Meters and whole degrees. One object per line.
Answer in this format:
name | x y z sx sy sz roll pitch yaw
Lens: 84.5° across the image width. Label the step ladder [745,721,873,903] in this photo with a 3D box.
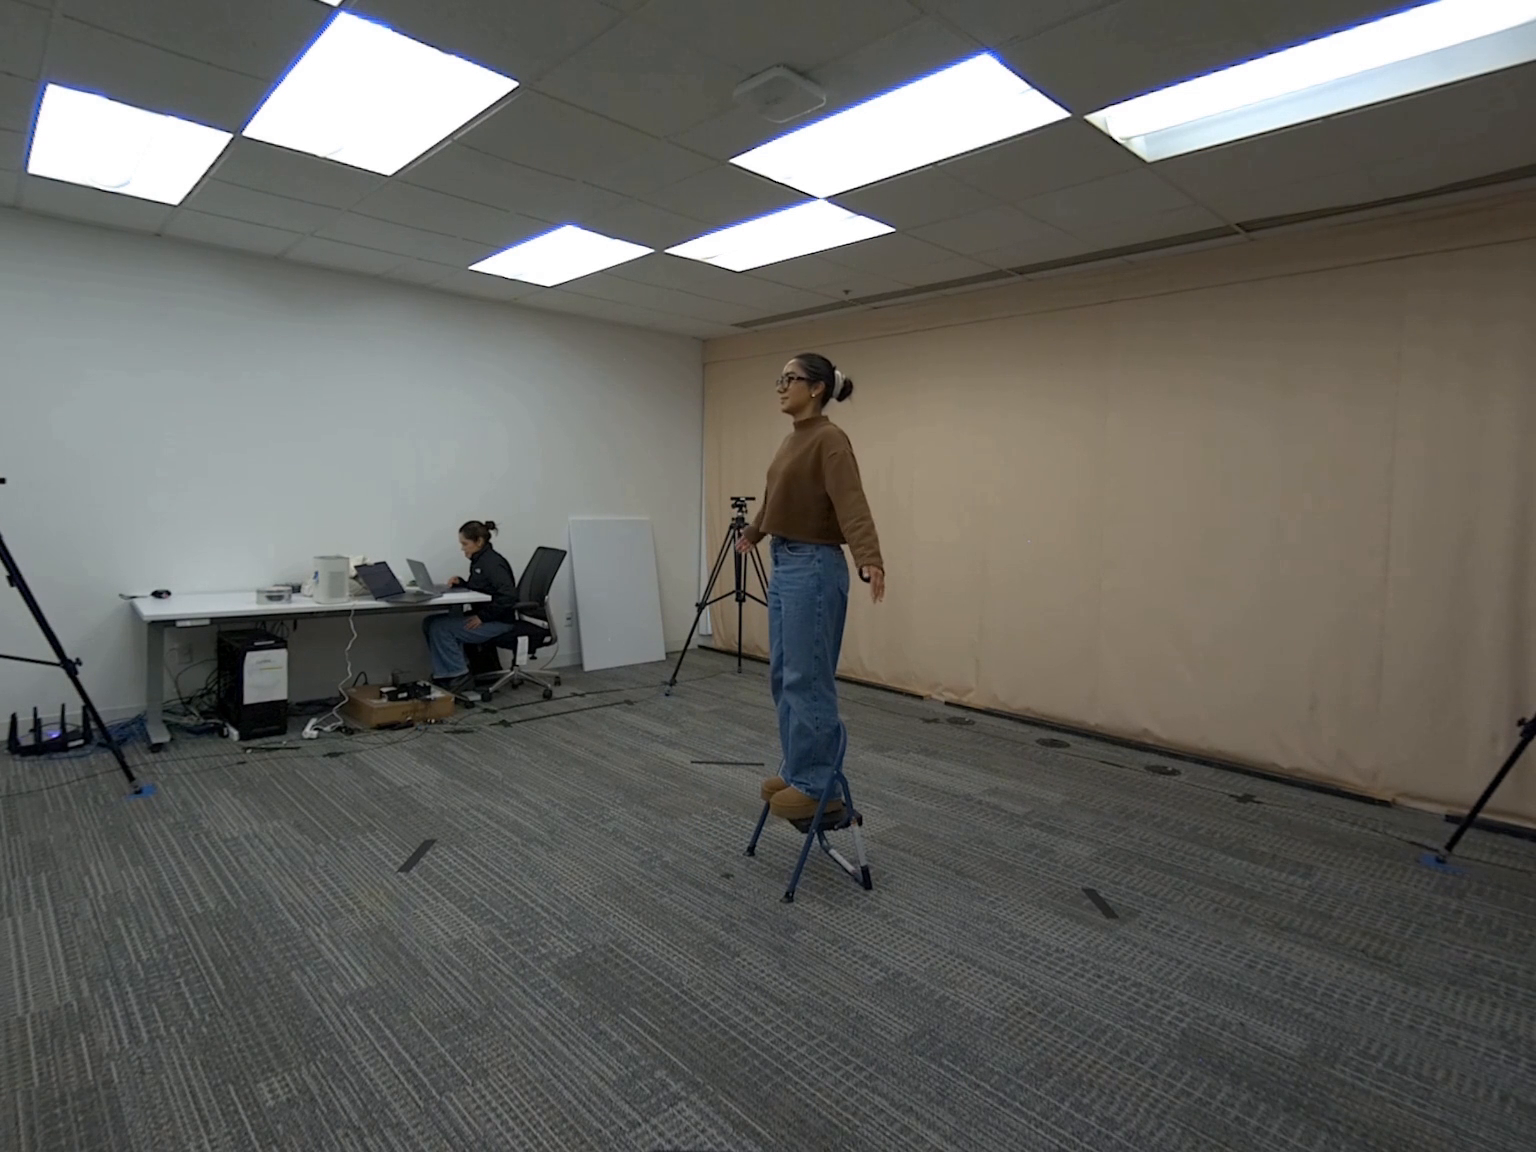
step ladder | 0.147 0.812 3.140 0.344 0.605 0.438 0 4 -21
